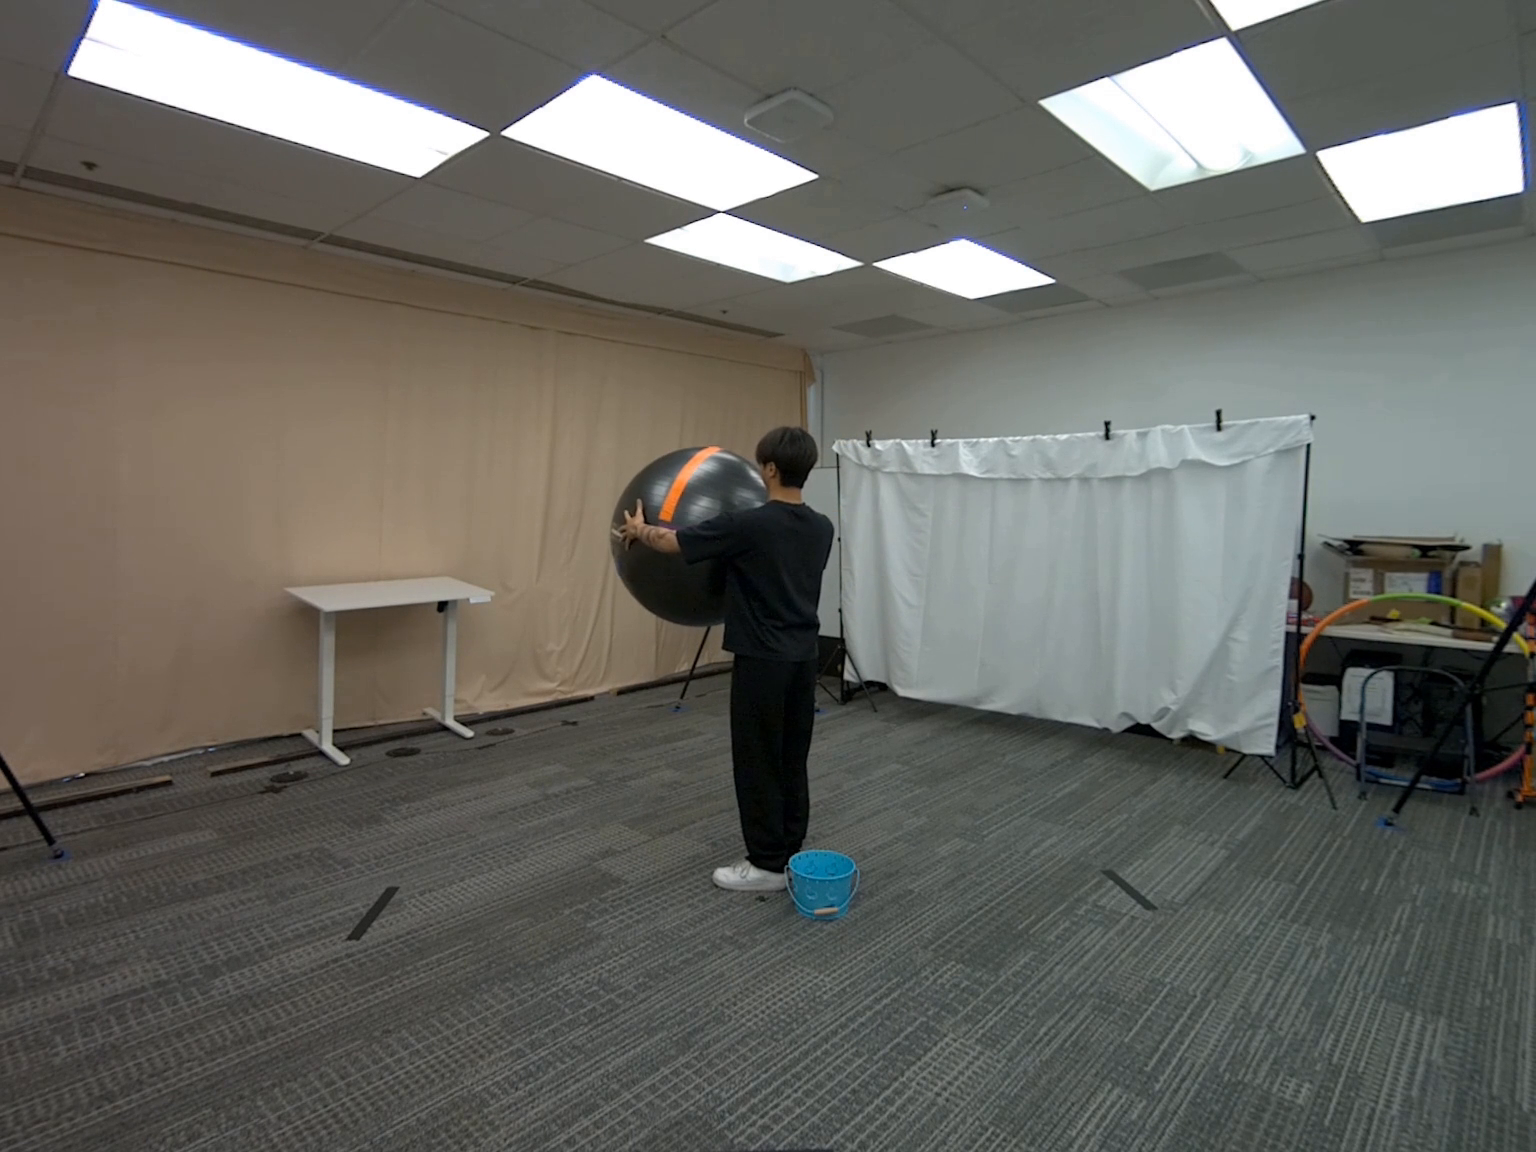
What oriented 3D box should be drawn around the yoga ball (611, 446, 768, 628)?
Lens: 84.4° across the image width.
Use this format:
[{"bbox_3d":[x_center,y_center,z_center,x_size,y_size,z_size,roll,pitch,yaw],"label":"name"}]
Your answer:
[{"bbox_3d":[-0.293,-0.161,3.598,0.757,0.756,0.761,0,4,-2],"label":"yoga ball"}]
